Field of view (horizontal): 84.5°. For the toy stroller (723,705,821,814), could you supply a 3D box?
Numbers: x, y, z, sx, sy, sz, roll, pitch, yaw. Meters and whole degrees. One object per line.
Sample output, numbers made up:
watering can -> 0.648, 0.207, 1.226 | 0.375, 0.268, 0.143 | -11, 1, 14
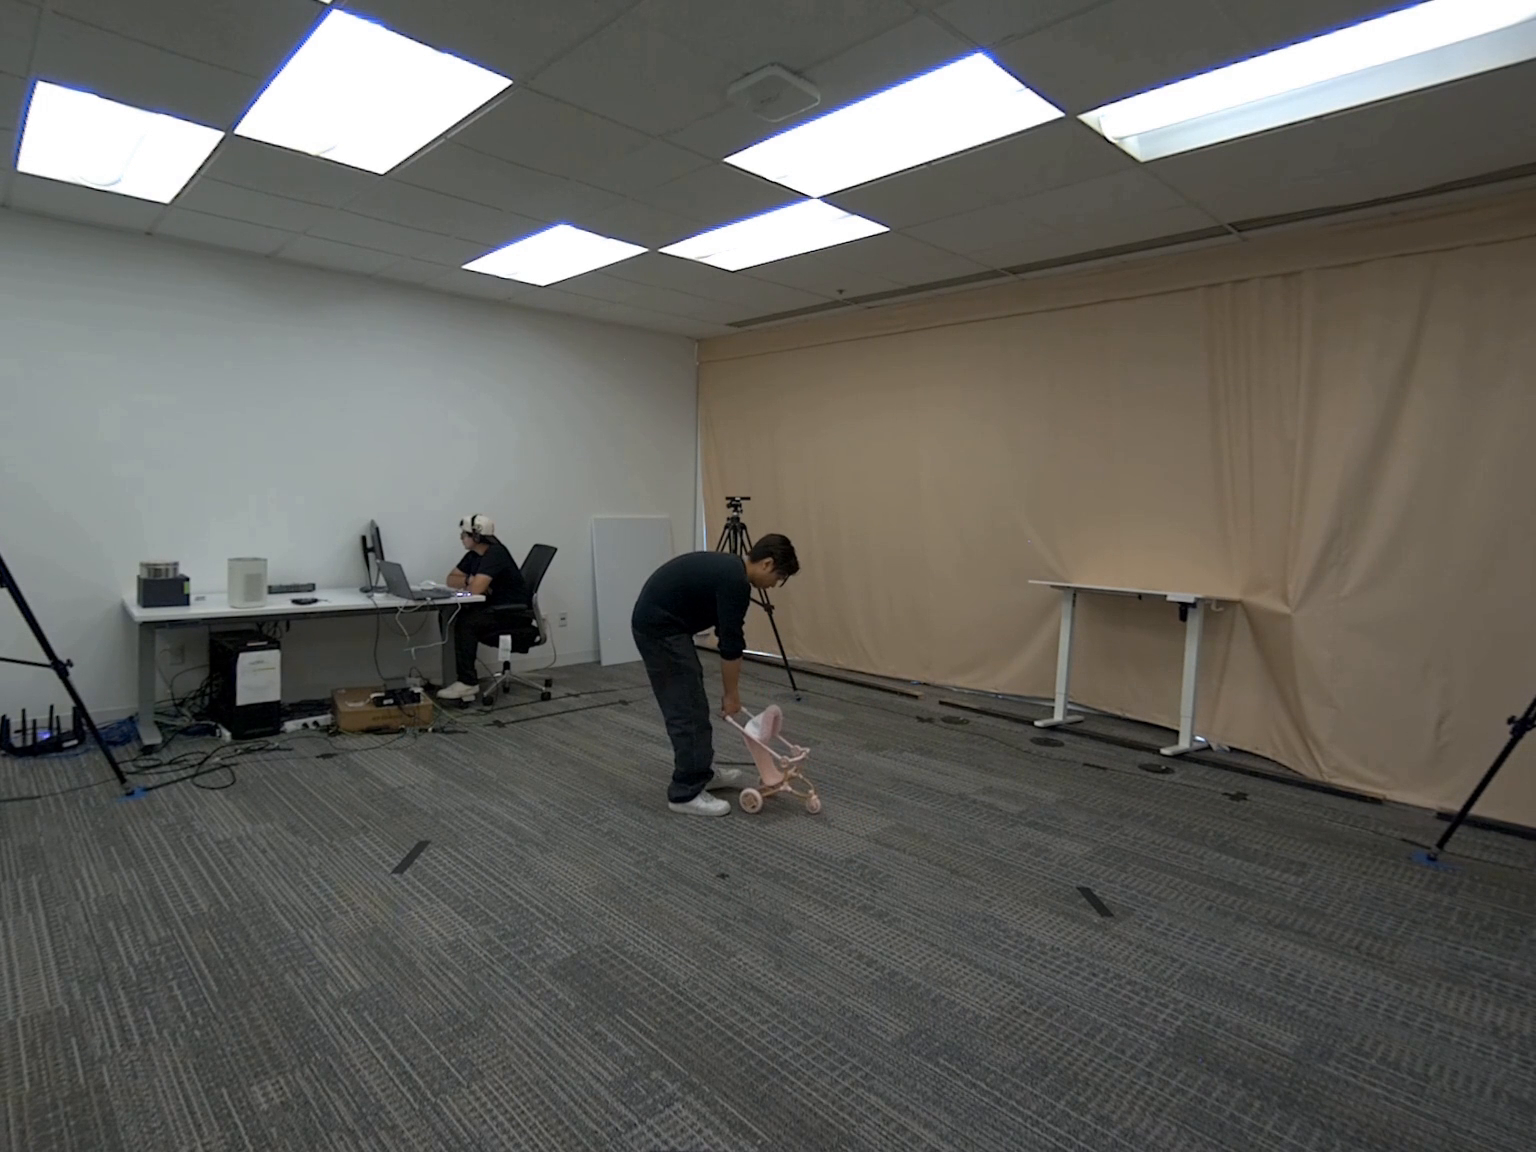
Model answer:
toy stroller -> 0.016, 0.822, 3.819 | 0.346, 0.537, 0.276 | -15, -4, 26
